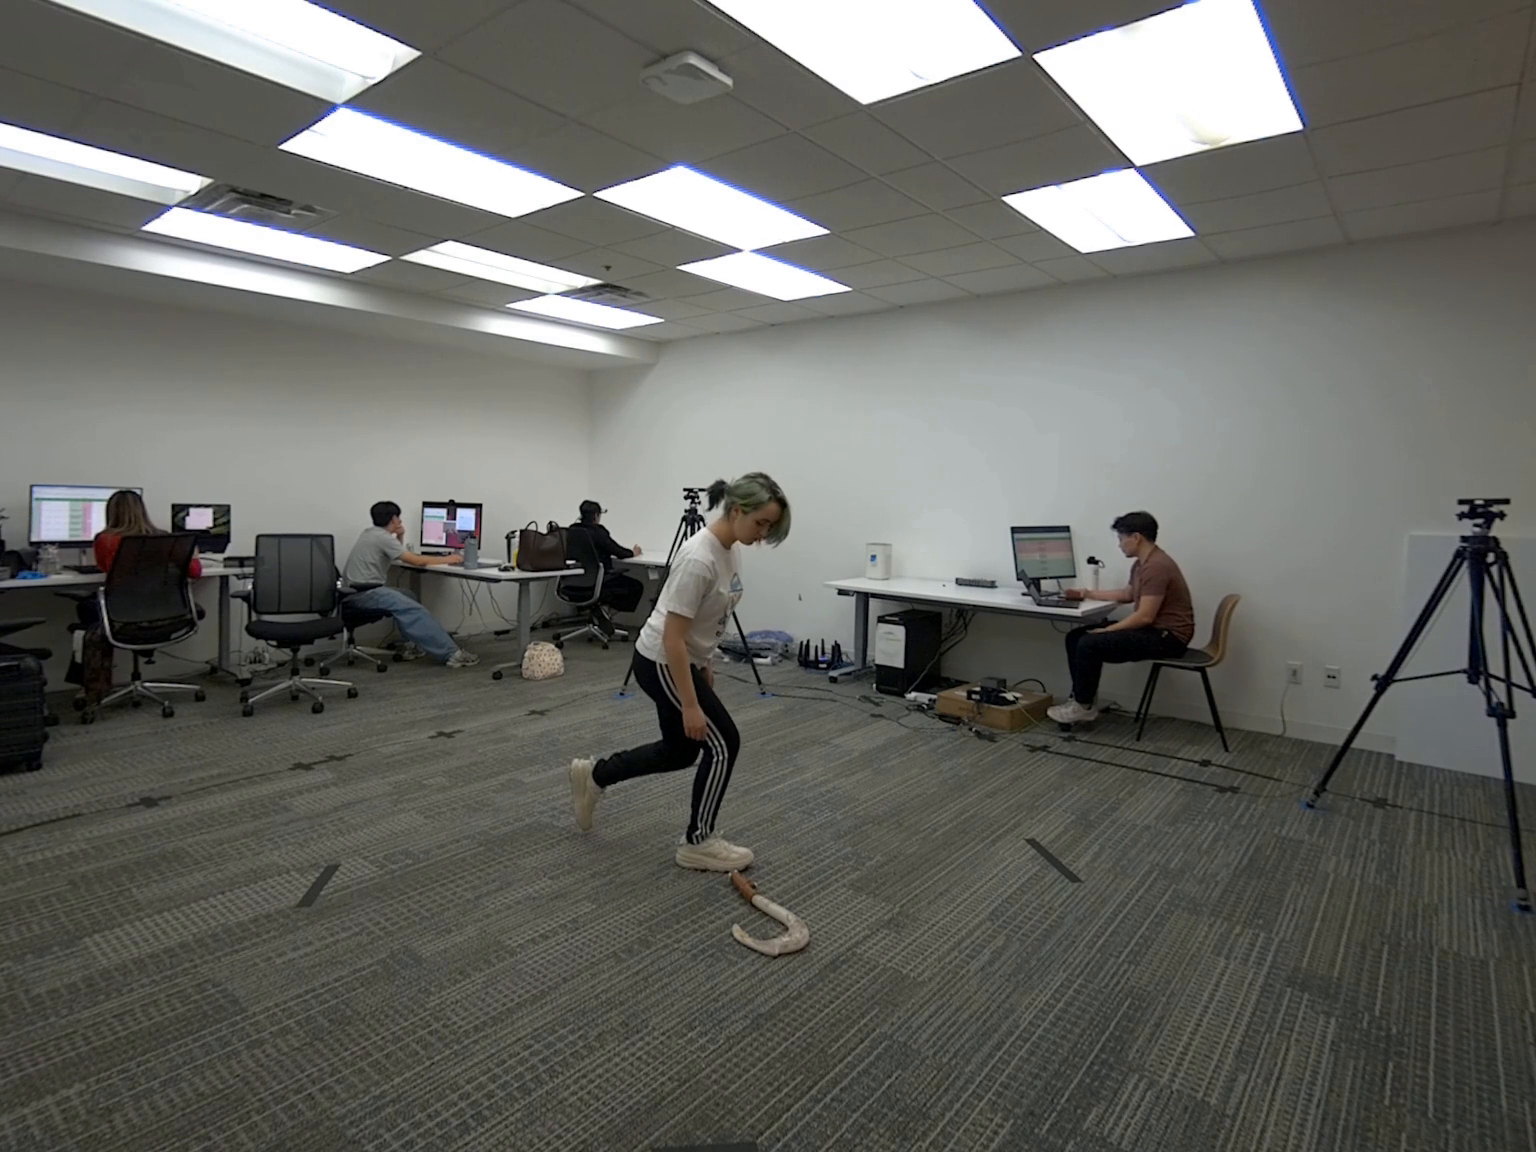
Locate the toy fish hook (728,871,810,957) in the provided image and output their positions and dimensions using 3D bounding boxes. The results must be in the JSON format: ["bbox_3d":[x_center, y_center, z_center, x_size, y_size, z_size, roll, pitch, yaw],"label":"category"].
[{"bbox_3d":[-0.064,1.082,2.764,0.219,0.048,0.521,-1,6,-27],"label":"toy fish hook"}]
